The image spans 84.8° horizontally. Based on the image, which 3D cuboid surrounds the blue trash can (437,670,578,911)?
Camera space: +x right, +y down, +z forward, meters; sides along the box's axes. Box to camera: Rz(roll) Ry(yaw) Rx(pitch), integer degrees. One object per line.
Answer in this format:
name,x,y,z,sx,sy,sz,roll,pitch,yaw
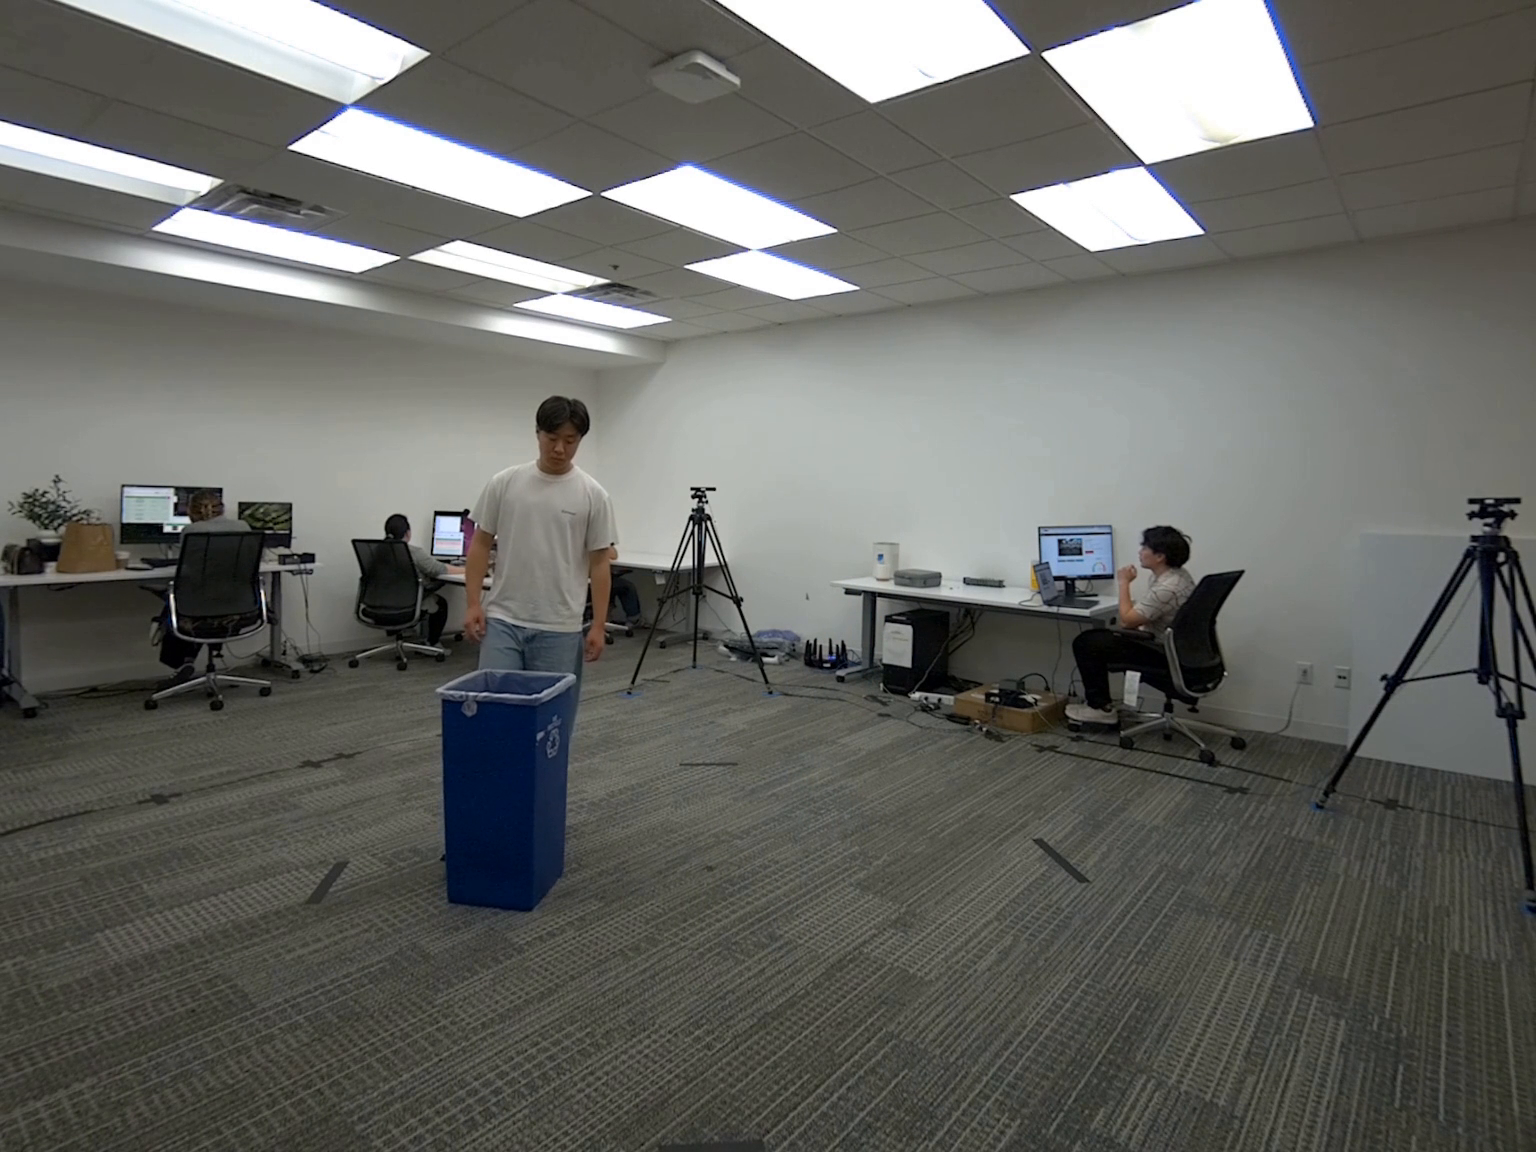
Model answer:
blue trash can,-0.904,0.714,2.926,0.382,0.711,0.371,2,4,9
